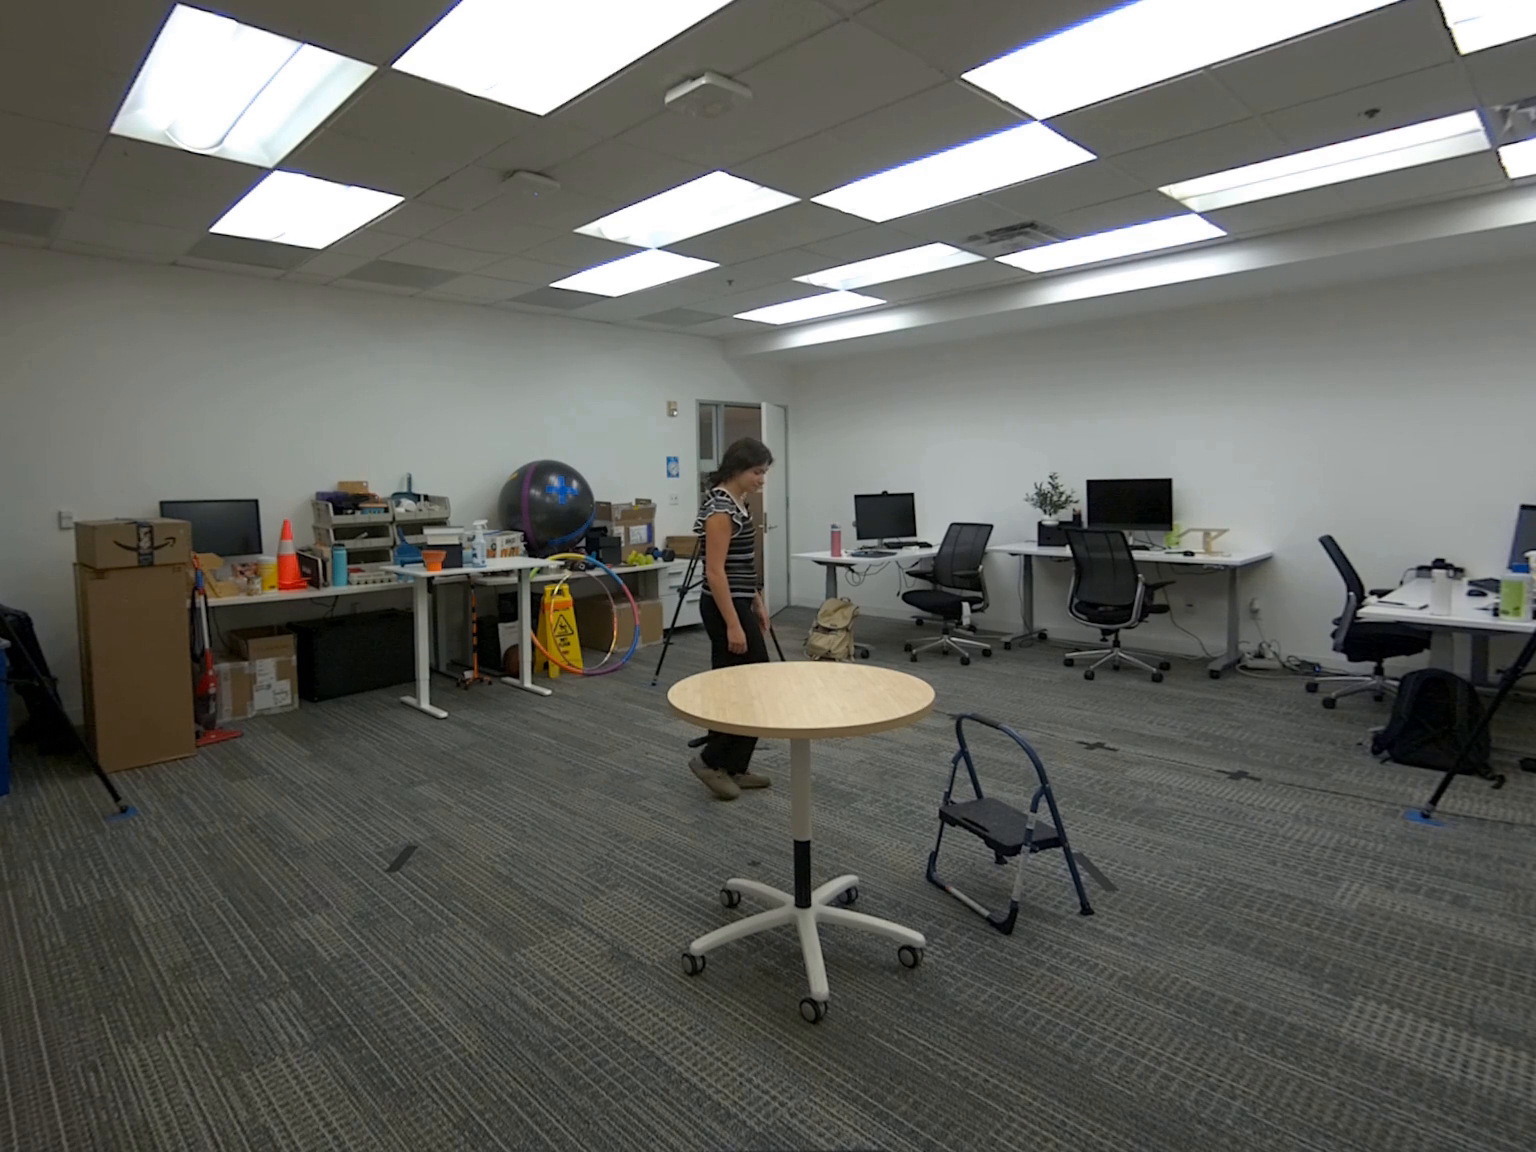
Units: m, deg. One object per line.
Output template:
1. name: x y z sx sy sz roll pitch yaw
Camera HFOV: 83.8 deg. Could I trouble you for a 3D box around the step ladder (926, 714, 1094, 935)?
1. step ladder: 0.787 0.760 2.821 0.342 0.604 0.441 -3 4 -26
